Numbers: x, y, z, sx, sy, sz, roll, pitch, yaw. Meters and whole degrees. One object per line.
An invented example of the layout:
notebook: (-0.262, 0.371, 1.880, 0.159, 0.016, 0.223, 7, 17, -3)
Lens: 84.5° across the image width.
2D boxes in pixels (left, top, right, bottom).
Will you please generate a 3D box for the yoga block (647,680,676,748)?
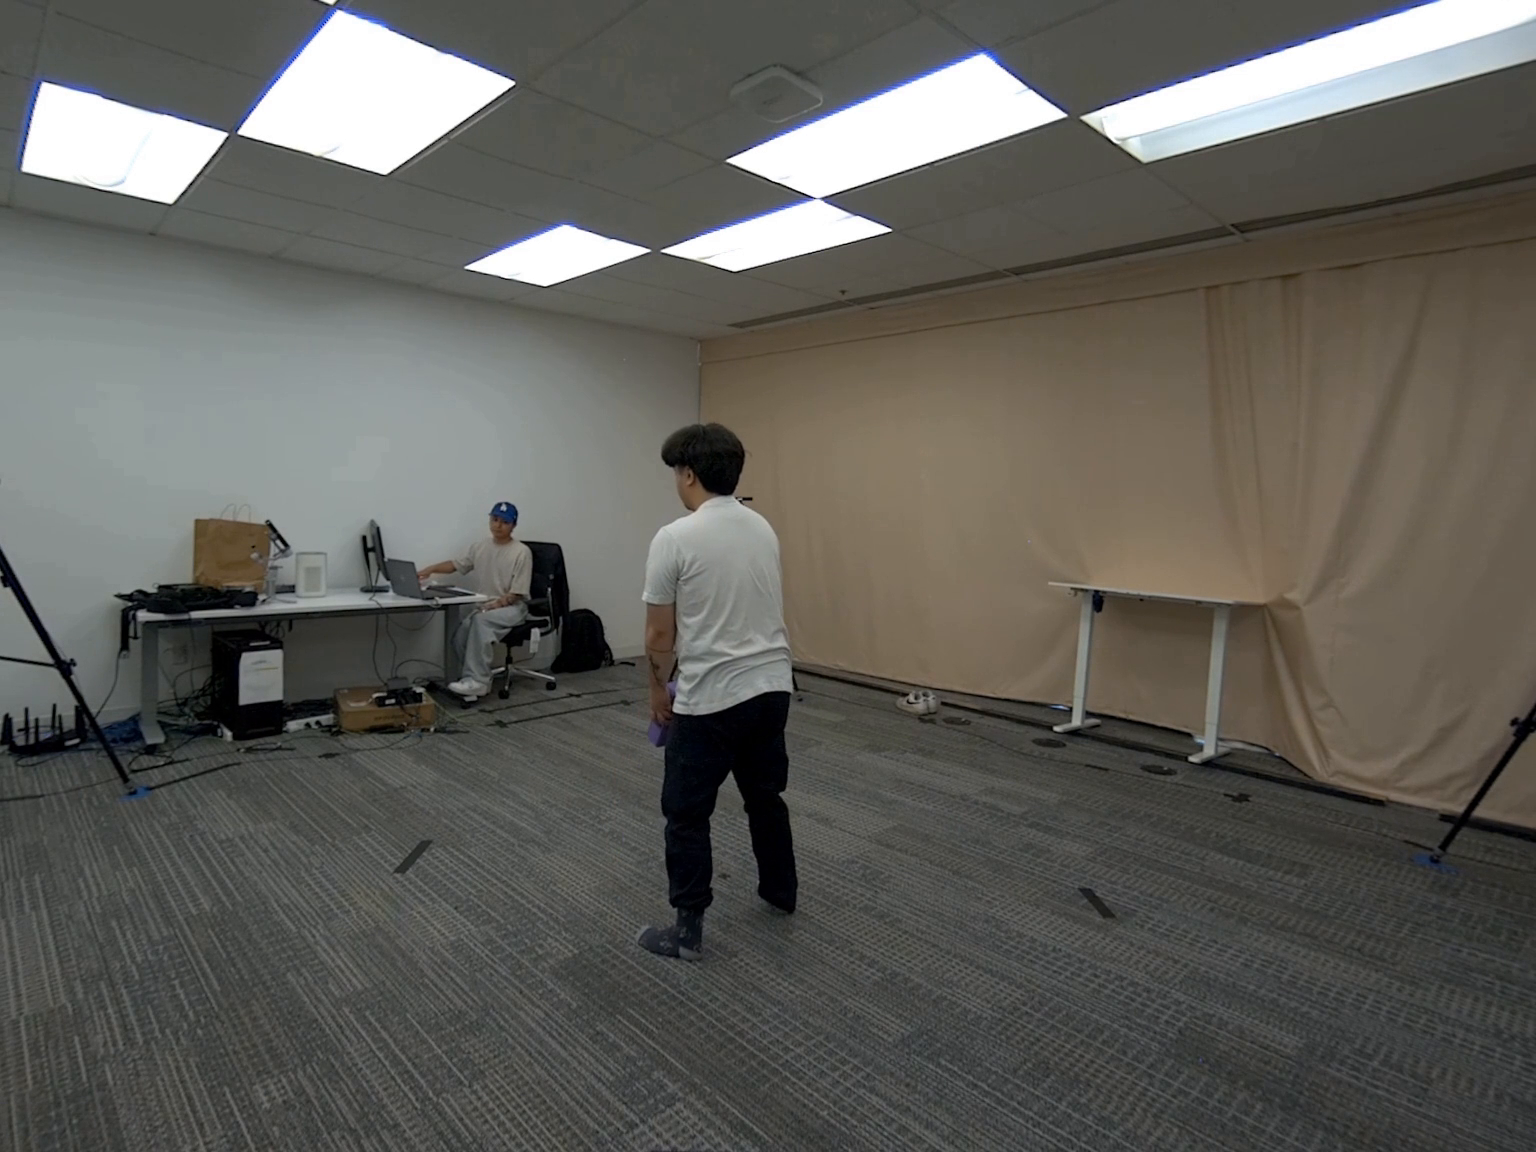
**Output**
yoga block: (-0.306, 0.460, 2.840, 0.146, 0.227, 0.079, -3, 33, -42)
